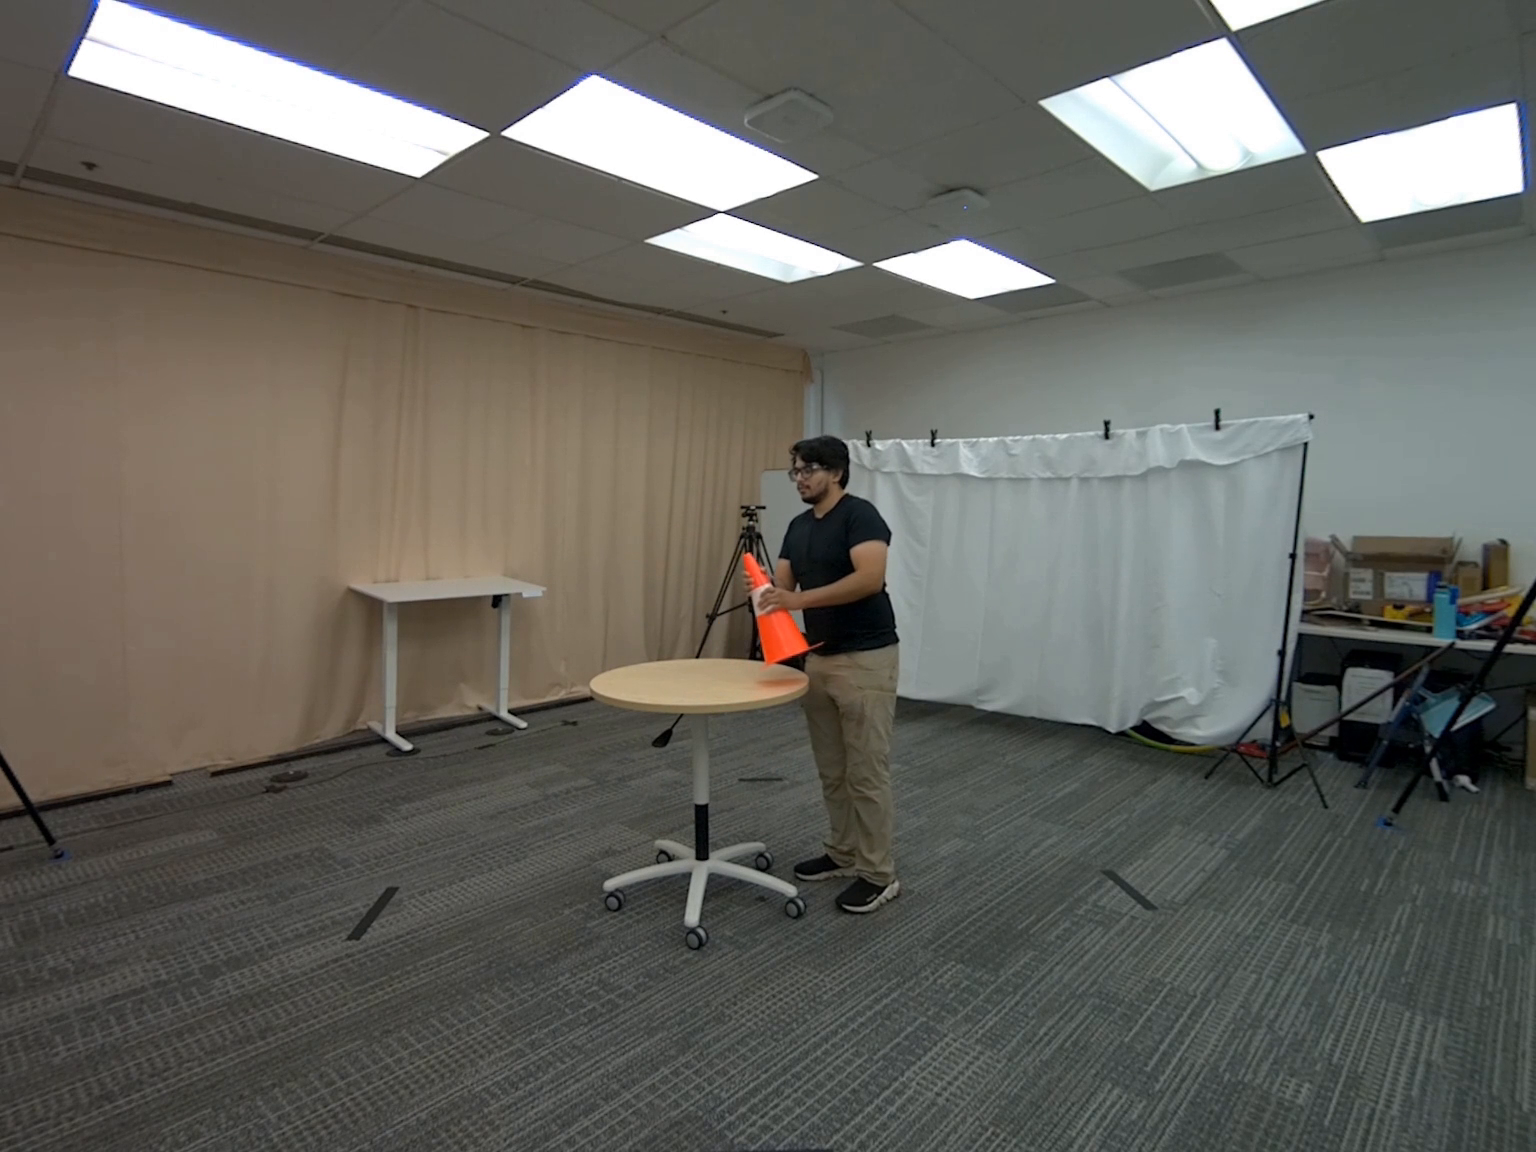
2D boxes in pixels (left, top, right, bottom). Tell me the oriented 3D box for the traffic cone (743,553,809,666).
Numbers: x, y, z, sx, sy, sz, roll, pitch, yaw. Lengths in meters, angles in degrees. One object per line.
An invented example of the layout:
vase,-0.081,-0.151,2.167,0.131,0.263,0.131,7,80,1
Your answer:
traffic cone,0.004,0.107,2.884,0.201,0.387,0.205,-17,-9,-25
